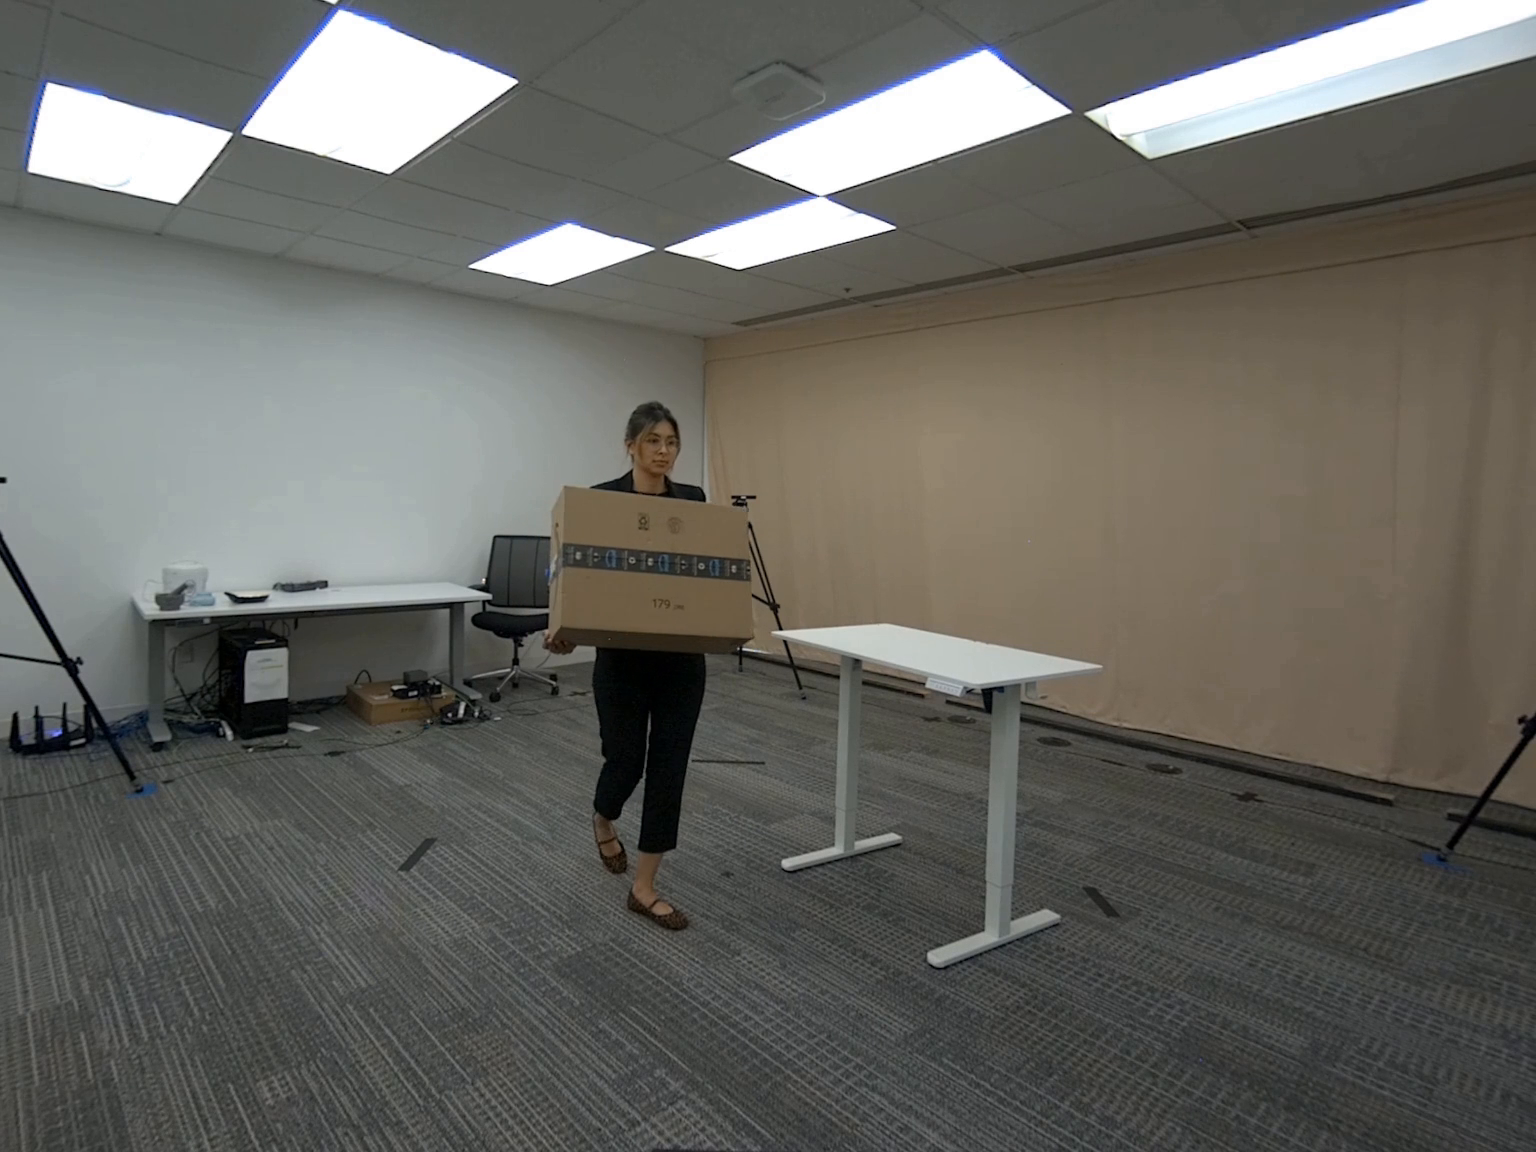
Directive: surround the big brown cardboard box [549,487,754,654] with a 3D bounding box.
[{"bbox_3d":[-0.354,-0.002,2.516,0.578,0.423,0.234,6,-21,-22],"label":"big brown cardboard box"}]
